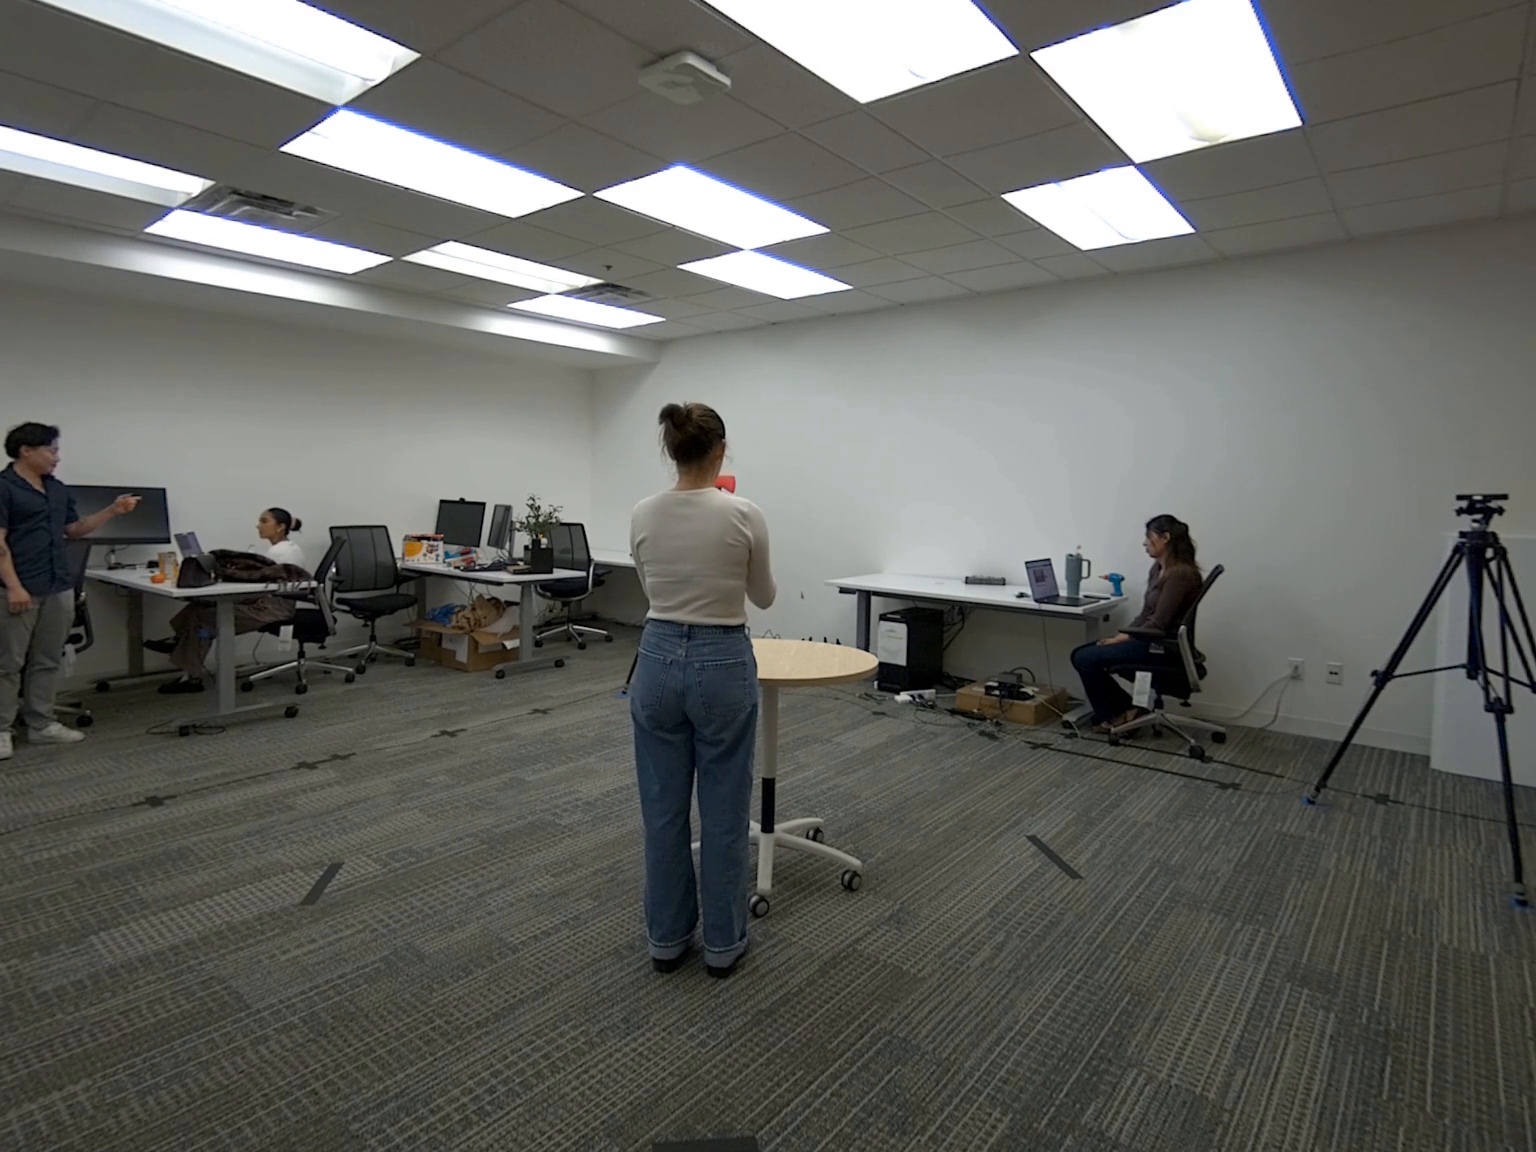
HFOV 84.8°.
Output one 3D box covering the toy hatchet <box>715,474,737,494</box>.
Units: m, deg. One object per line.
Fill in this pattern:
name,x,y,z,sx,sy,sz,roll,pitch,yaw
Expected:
toy hatchet,-0.126,-0.222,2.720,0.131,0.278,0.029,-31,-22,-5
